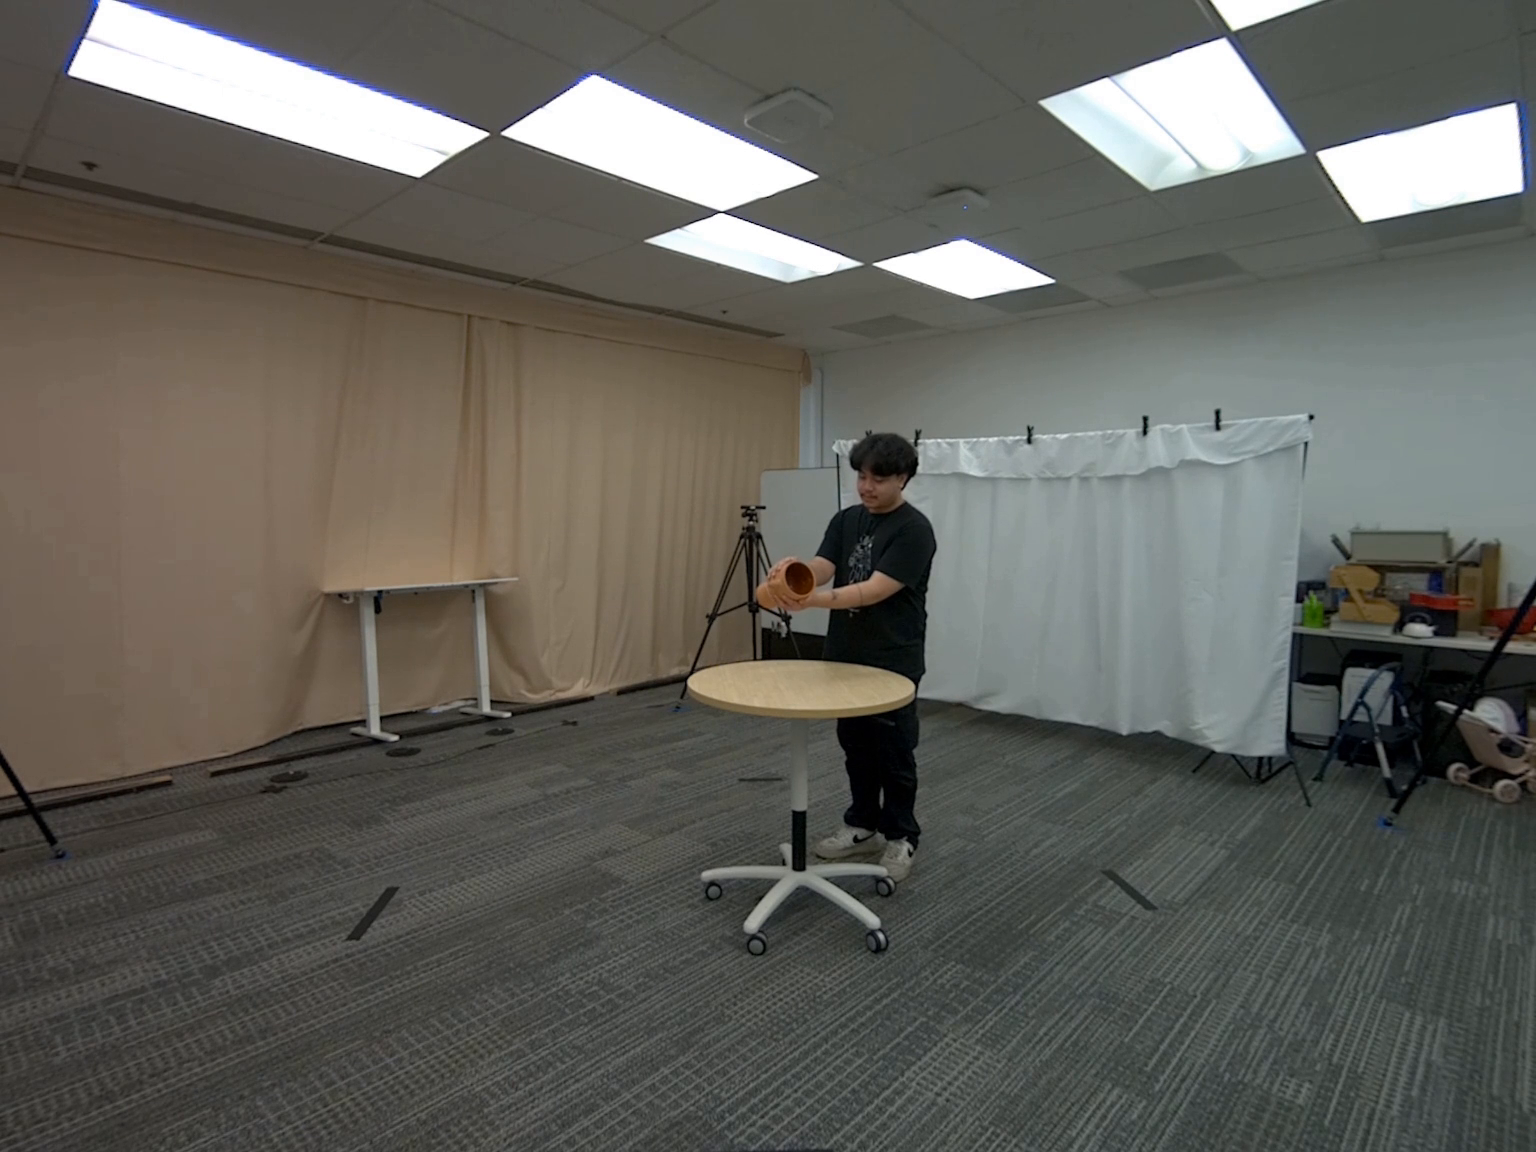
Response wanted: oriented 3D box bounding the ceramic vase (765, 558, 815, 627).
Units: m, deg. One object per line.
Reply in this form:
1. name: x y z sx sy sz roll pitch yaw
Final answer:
1. ceramic vase: 0.062 0.038 2.977 0.156 0.134 0.223 39 -32 -13
